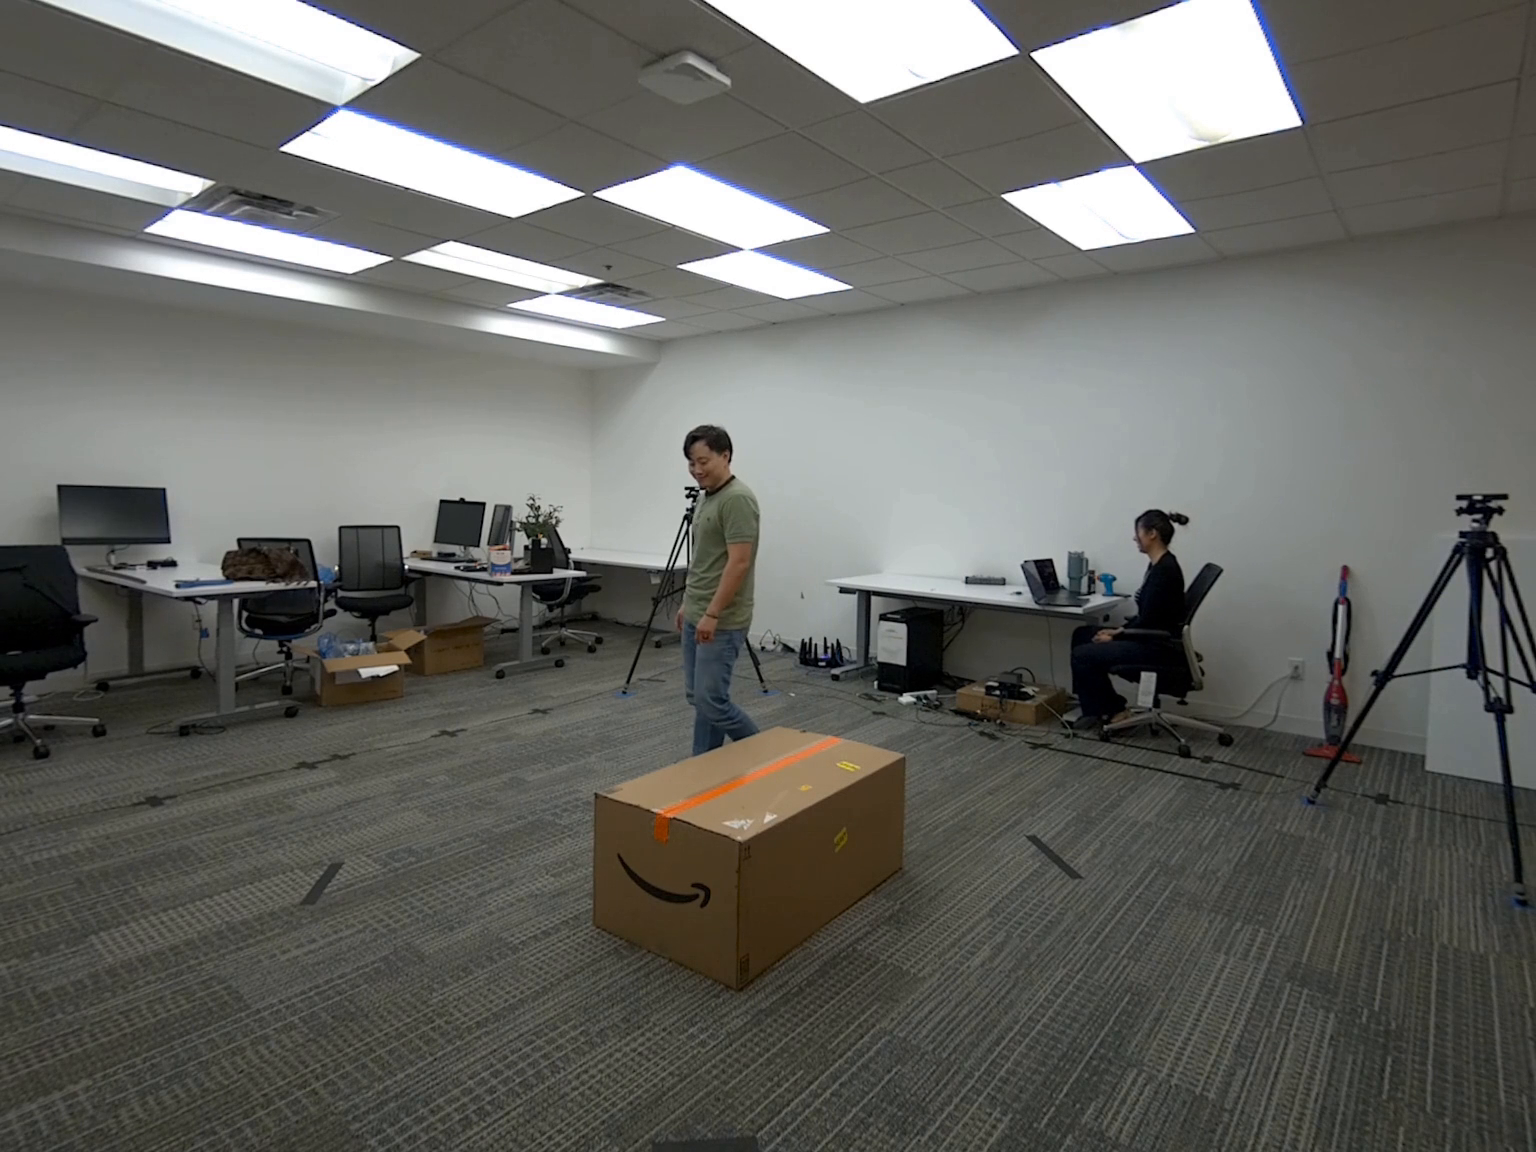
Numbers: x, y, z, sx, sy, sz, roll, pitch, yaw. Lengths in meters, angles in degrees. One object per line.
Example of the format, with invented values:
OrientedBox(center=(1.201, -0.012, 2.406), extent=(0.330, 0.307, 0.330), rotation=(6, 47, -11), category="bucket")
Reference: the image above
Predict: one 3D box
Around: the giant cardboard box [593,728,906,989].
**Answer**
OrientedBox(center=(-0.033, 0.874, 2.903), extent=(0.596, 0.424, 0.997), rotation=(5, 6, 36), category="giant cardboard box")
